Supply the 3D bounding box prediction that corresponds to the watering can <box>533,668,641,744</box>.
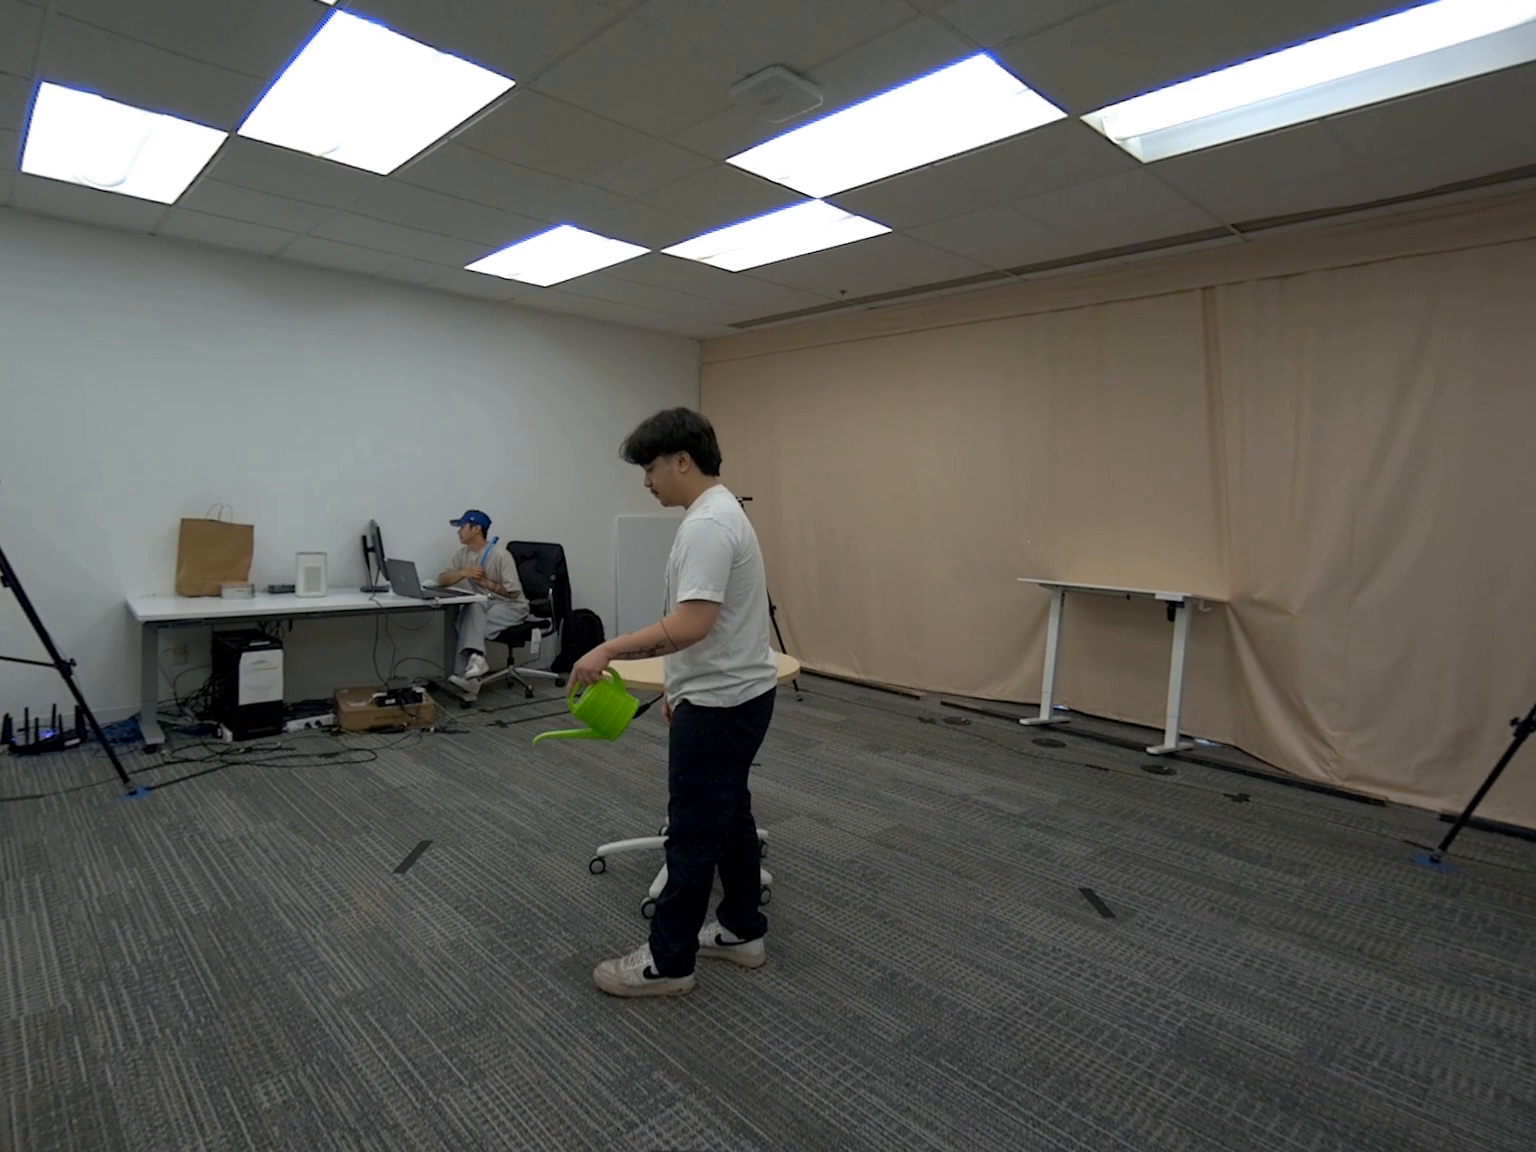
[{"bbox_3d":[-0.465,0.378,2.239,0.175,0.278,0.099,36,6,-8],"label":"watering can"}]
